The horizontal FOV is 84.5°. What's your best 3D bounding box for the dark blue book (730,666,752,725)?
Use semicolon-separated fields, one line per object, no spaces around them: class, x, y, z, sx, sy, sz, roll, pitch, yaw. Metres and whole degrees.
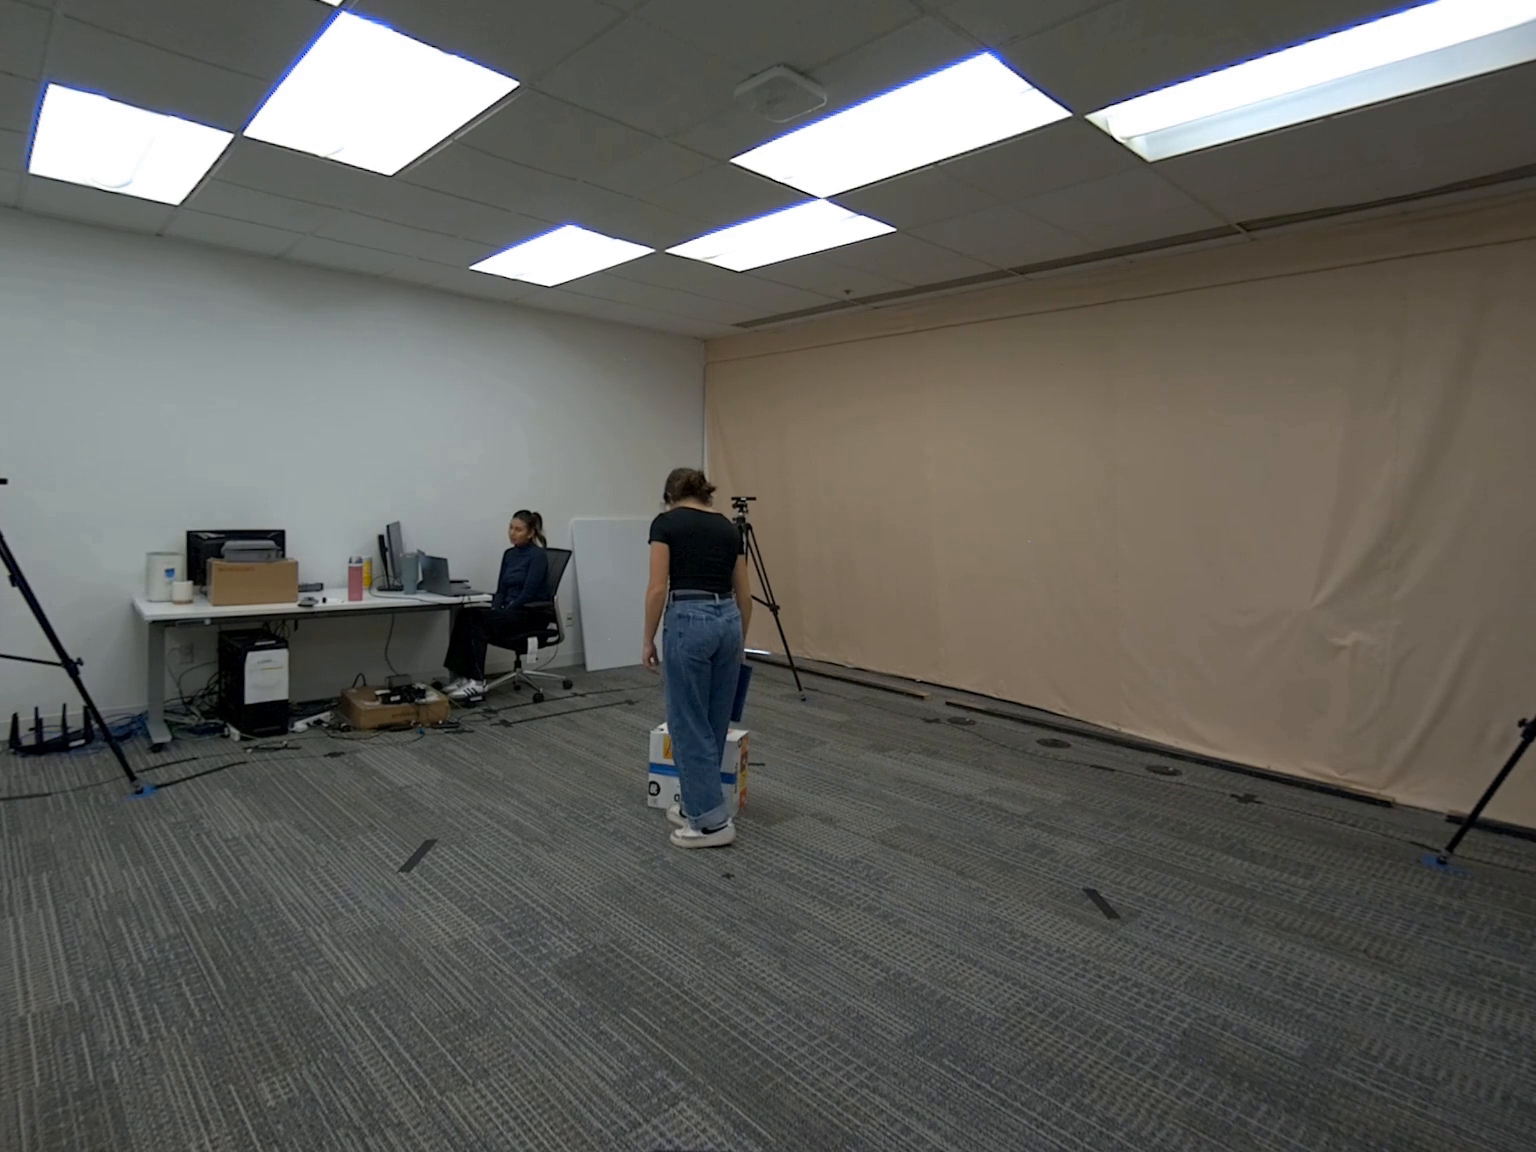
dark blue book;-0.182;0.496;3.651;0.167;0.245;0.044;13;-3;32
